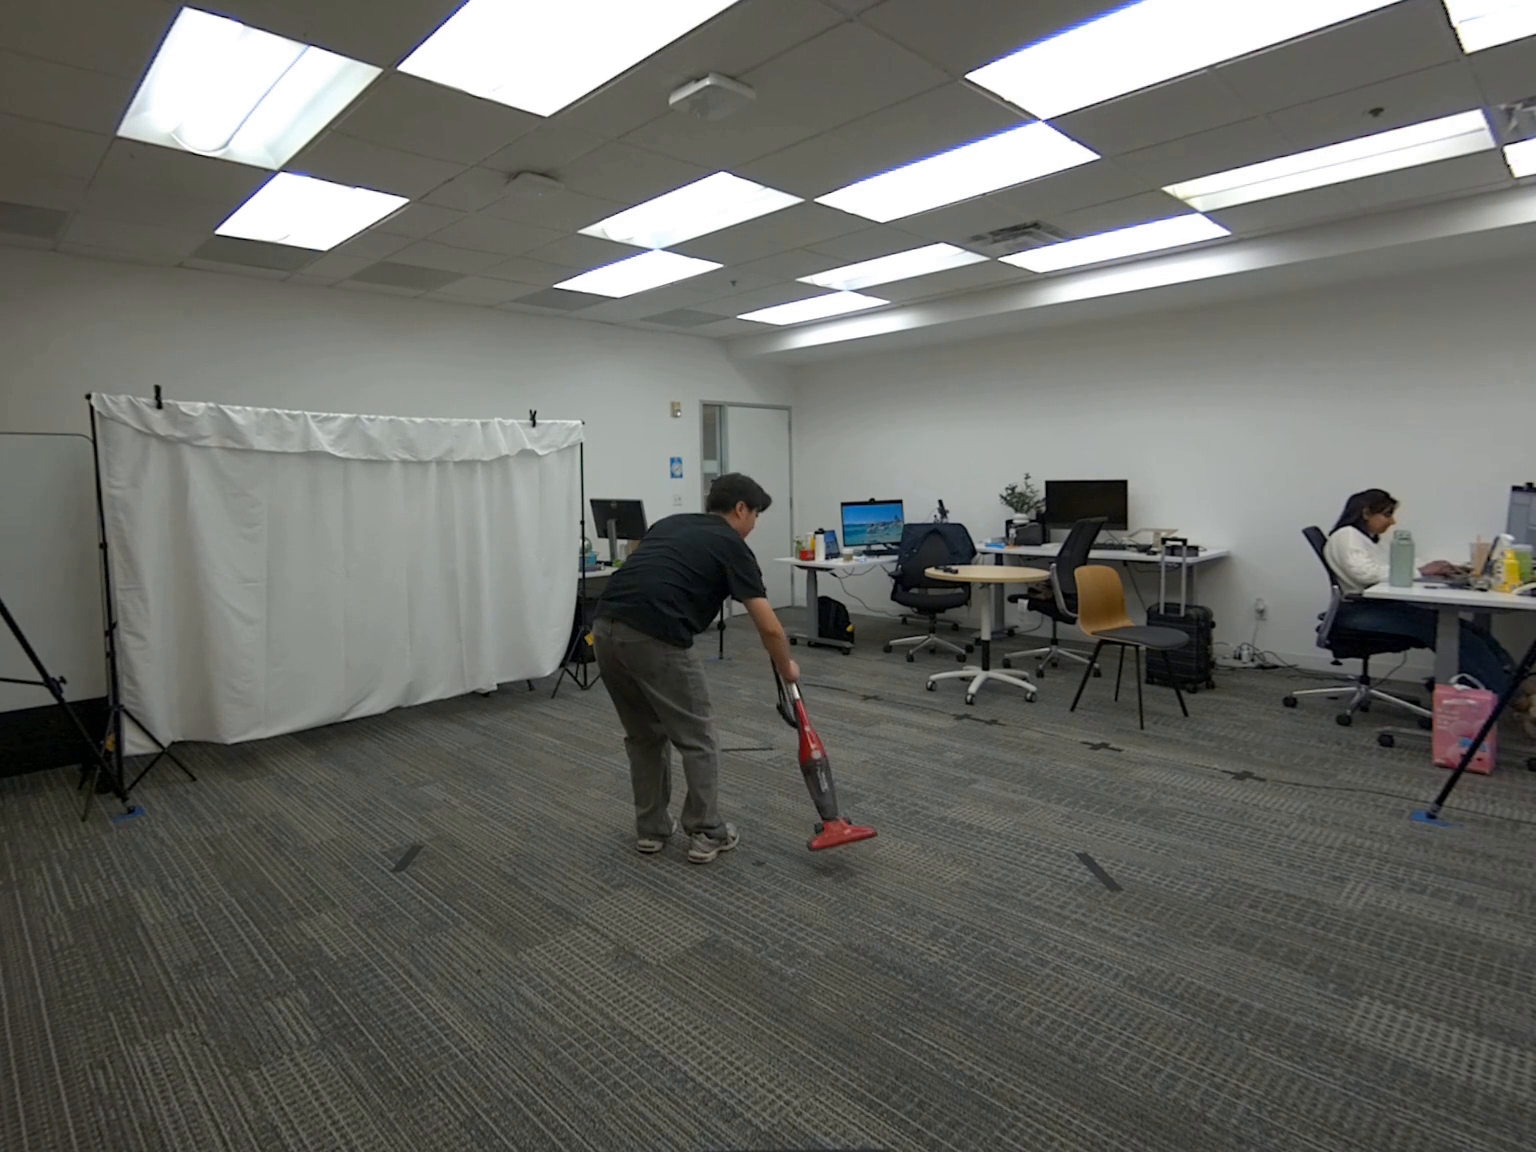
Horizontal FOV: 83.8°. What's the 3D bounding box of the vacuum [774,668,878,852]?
[{"bbox_3d":[0.114,0.510,3.367,0.251,1.084,0.140,-12,-35,-8],"label":"vacuum"}]
